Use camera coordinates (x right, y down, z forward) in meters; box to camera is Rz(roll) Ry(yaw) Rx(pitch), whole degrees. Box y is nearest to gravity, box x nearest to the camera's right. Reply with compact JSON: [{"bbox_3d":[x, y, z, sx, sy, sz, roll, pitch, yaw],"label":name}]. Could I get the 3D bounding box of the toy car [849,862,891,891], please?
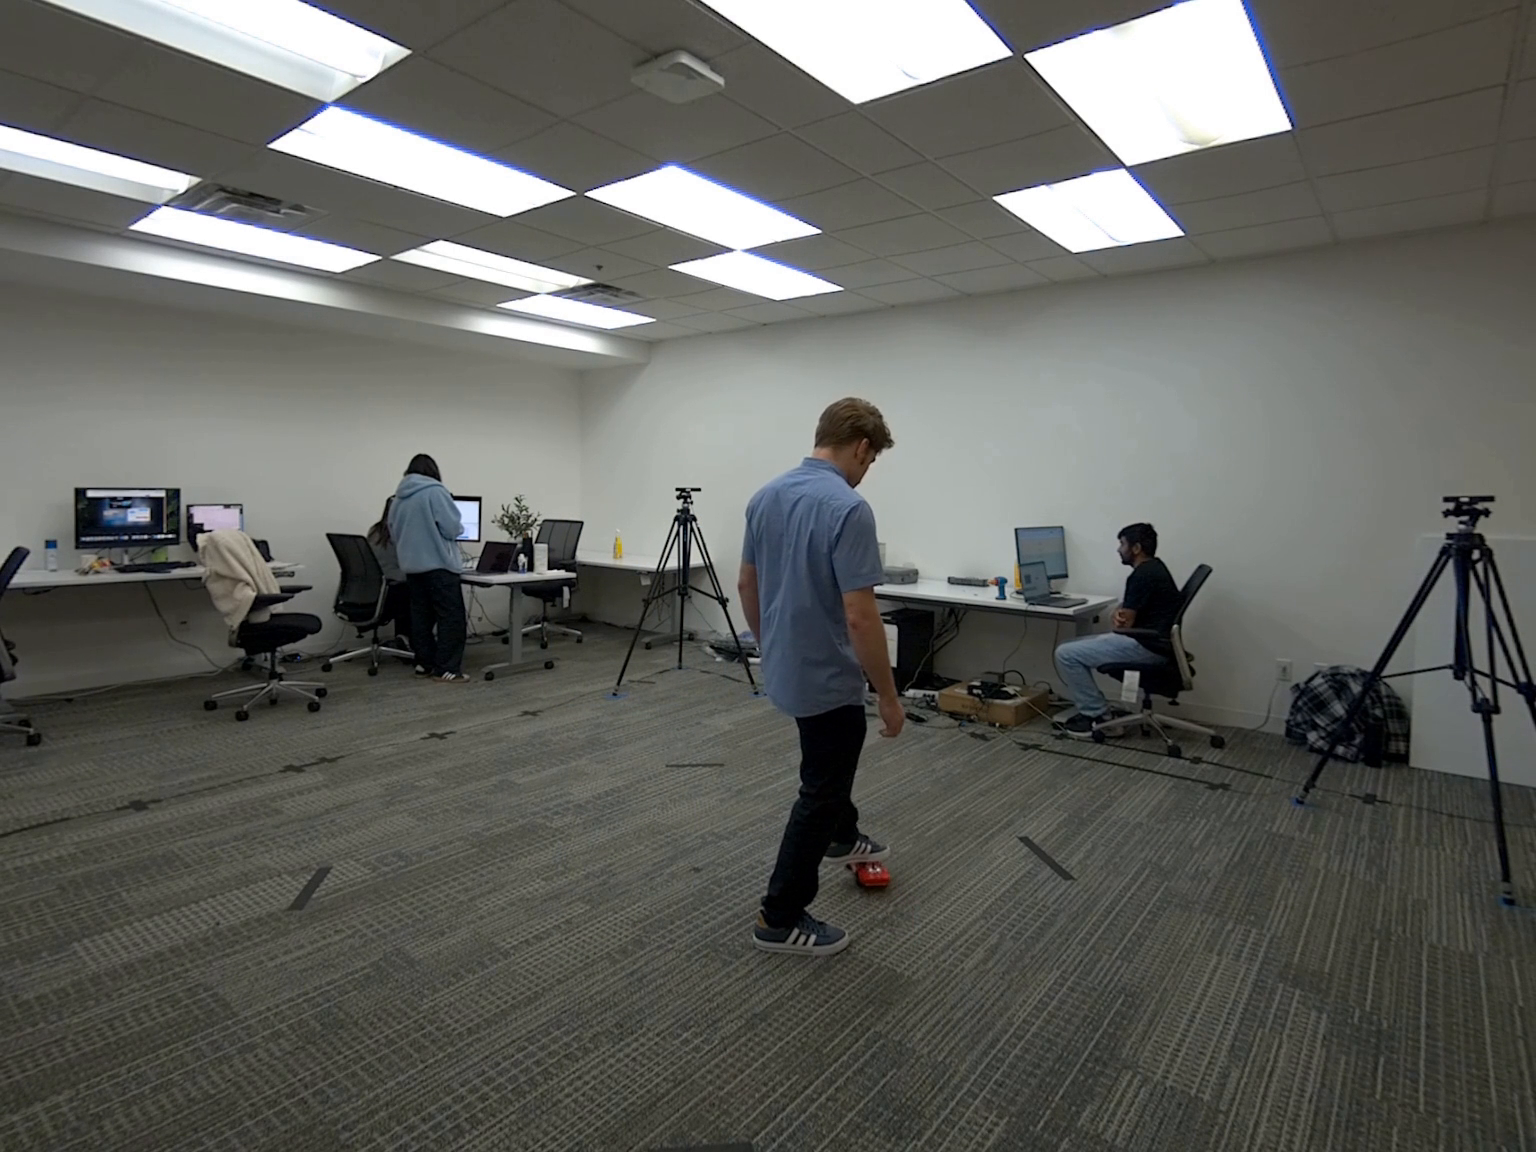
[{"bbox_3d":[0.357,1.055,3.060,0.129,0.084,0.255,0,-6,-9],"label":"toy car"}]
